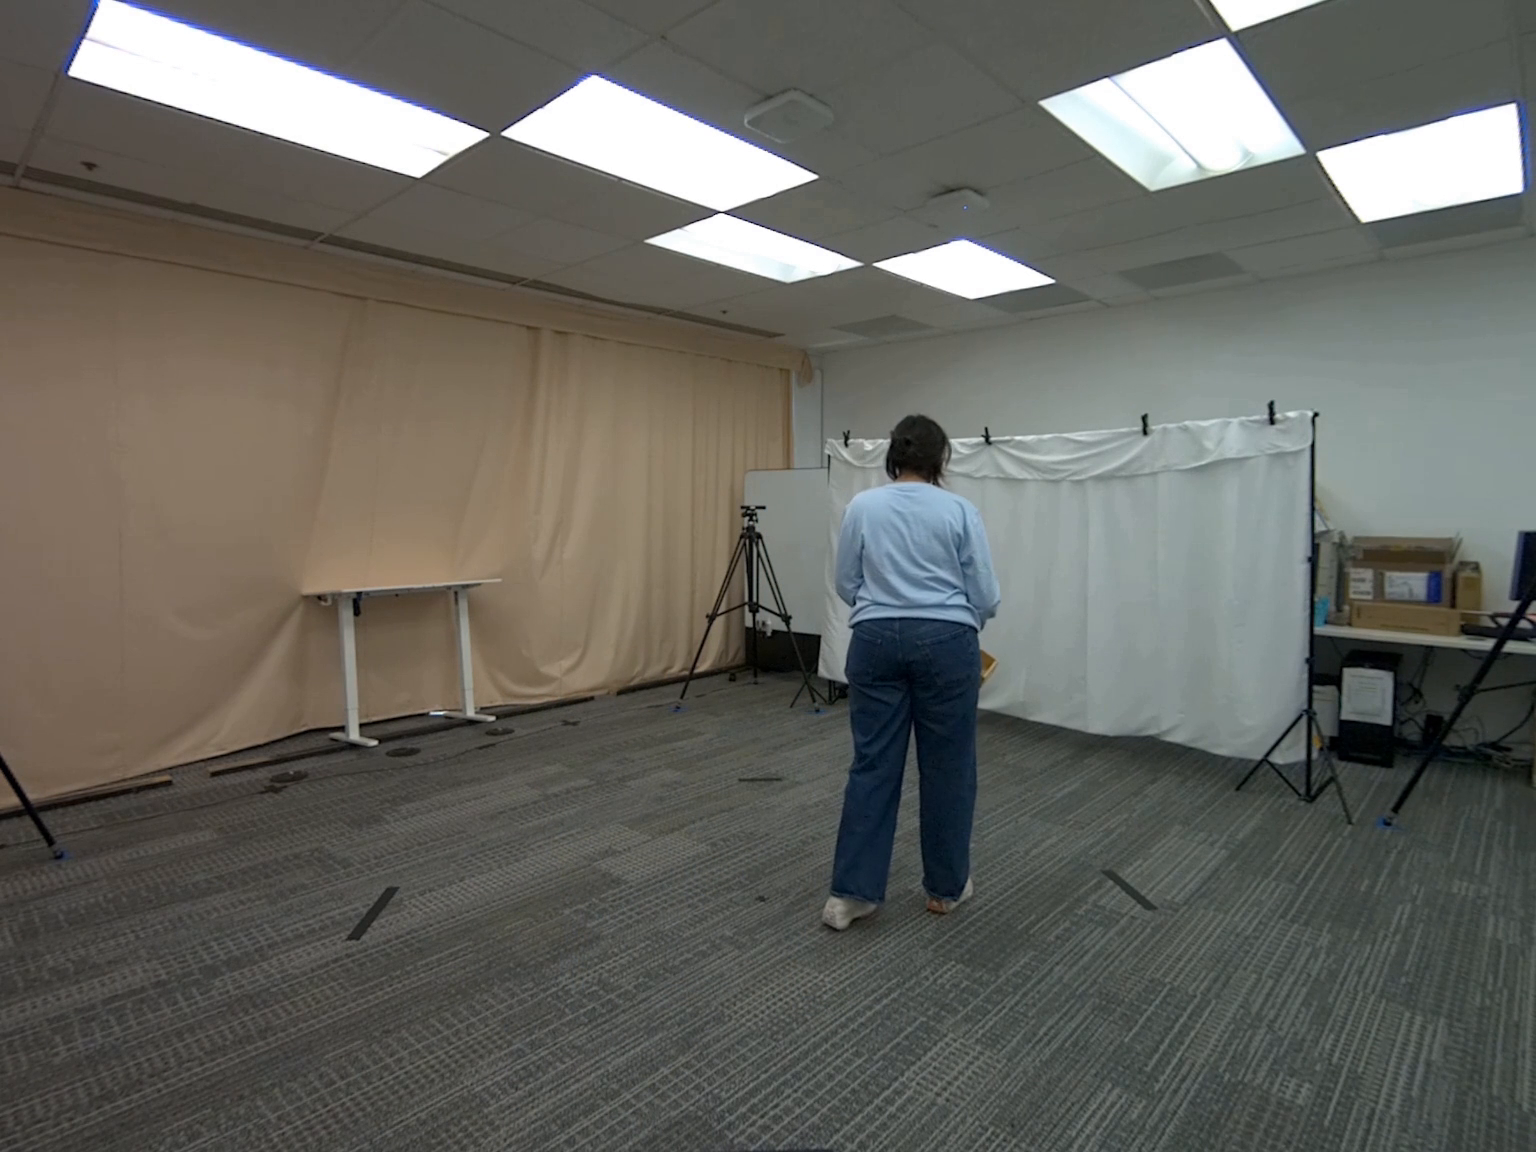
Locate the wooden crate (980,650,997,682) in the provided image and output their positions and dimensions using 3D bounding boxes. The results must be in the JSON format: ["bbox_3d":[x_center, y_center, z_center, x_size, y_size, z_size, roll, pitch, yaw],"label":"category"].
[{"bbox_3d":[0.685,0.249,3.128,0.310,0.272,0.317,0,6,25],"label":"wooden crate"}]
